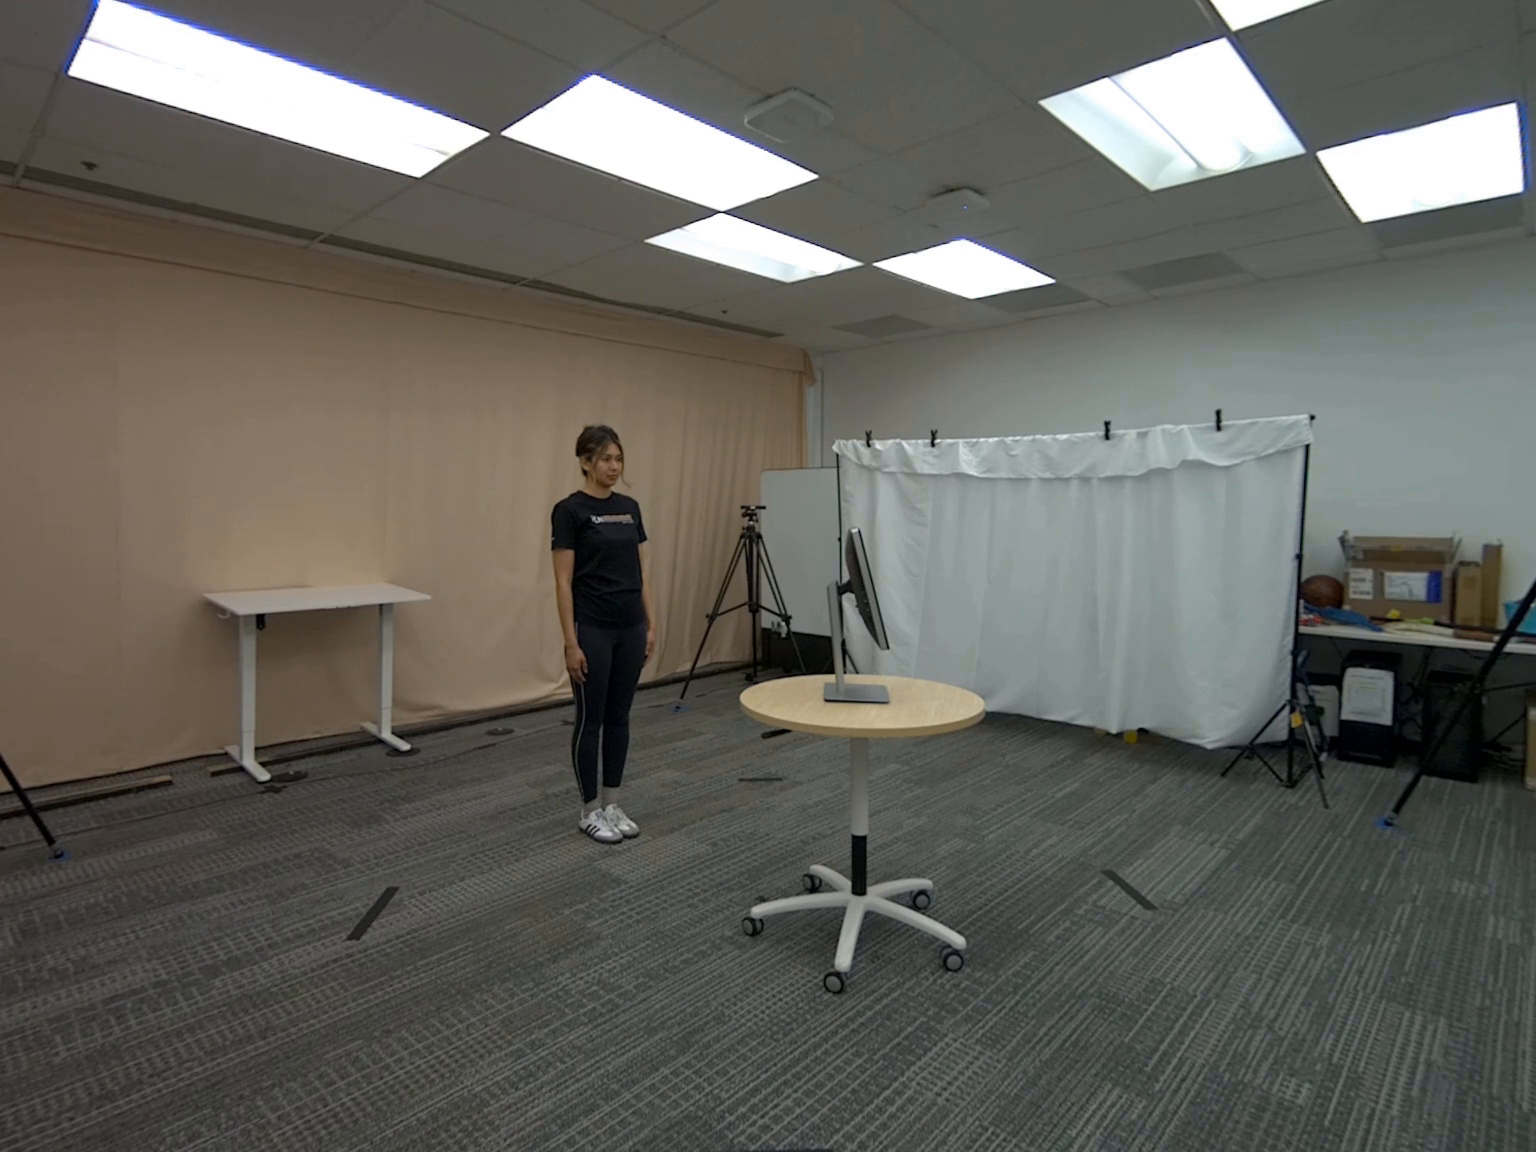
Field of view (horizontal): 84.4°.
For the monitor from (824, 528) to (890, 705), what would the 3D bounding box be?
[{"bbox_3d":[0.286,0.122,2.723,0.188,0.522,0.537,0,3,3],"label":"monitor"}]
